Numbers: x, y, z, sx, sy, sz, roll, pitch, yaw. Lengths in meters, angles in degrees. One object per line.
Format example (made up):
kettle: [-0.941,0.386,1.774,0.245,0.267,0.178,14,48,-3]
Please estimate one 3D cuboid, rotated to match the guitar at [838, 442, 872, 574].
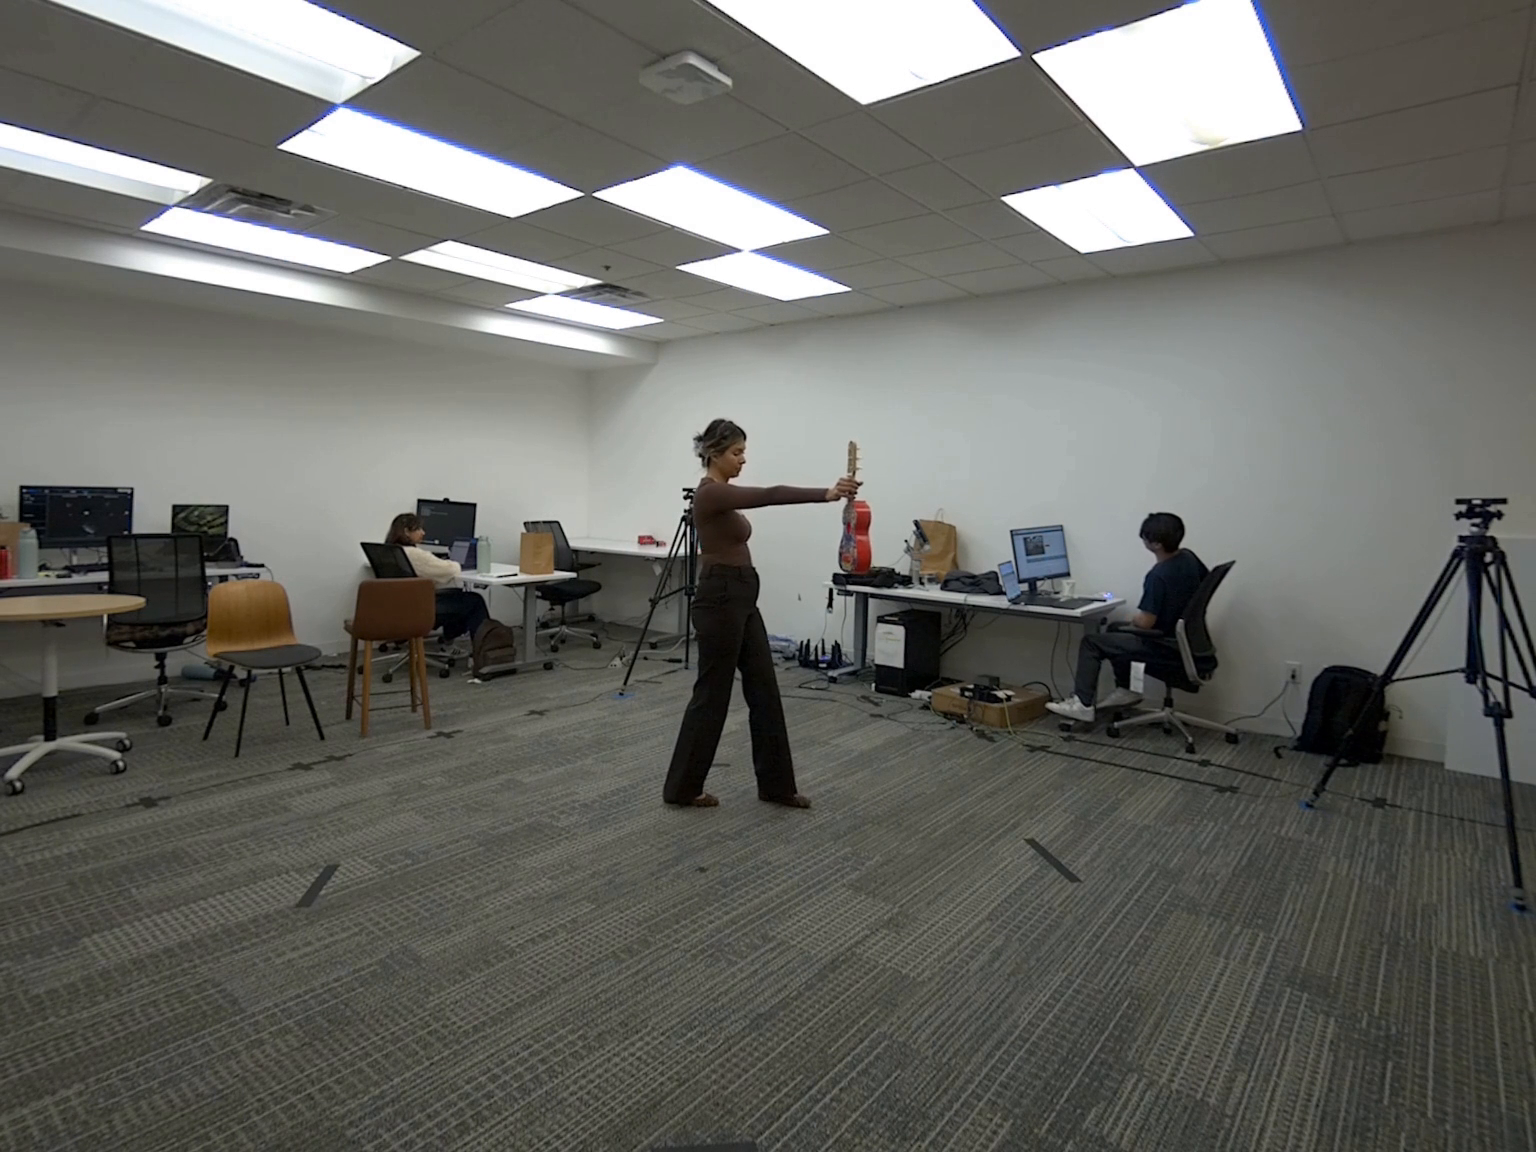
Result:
guitar: [0.328,-0.256,3.198,0.070,0.493,0.197,2,12,-10]
